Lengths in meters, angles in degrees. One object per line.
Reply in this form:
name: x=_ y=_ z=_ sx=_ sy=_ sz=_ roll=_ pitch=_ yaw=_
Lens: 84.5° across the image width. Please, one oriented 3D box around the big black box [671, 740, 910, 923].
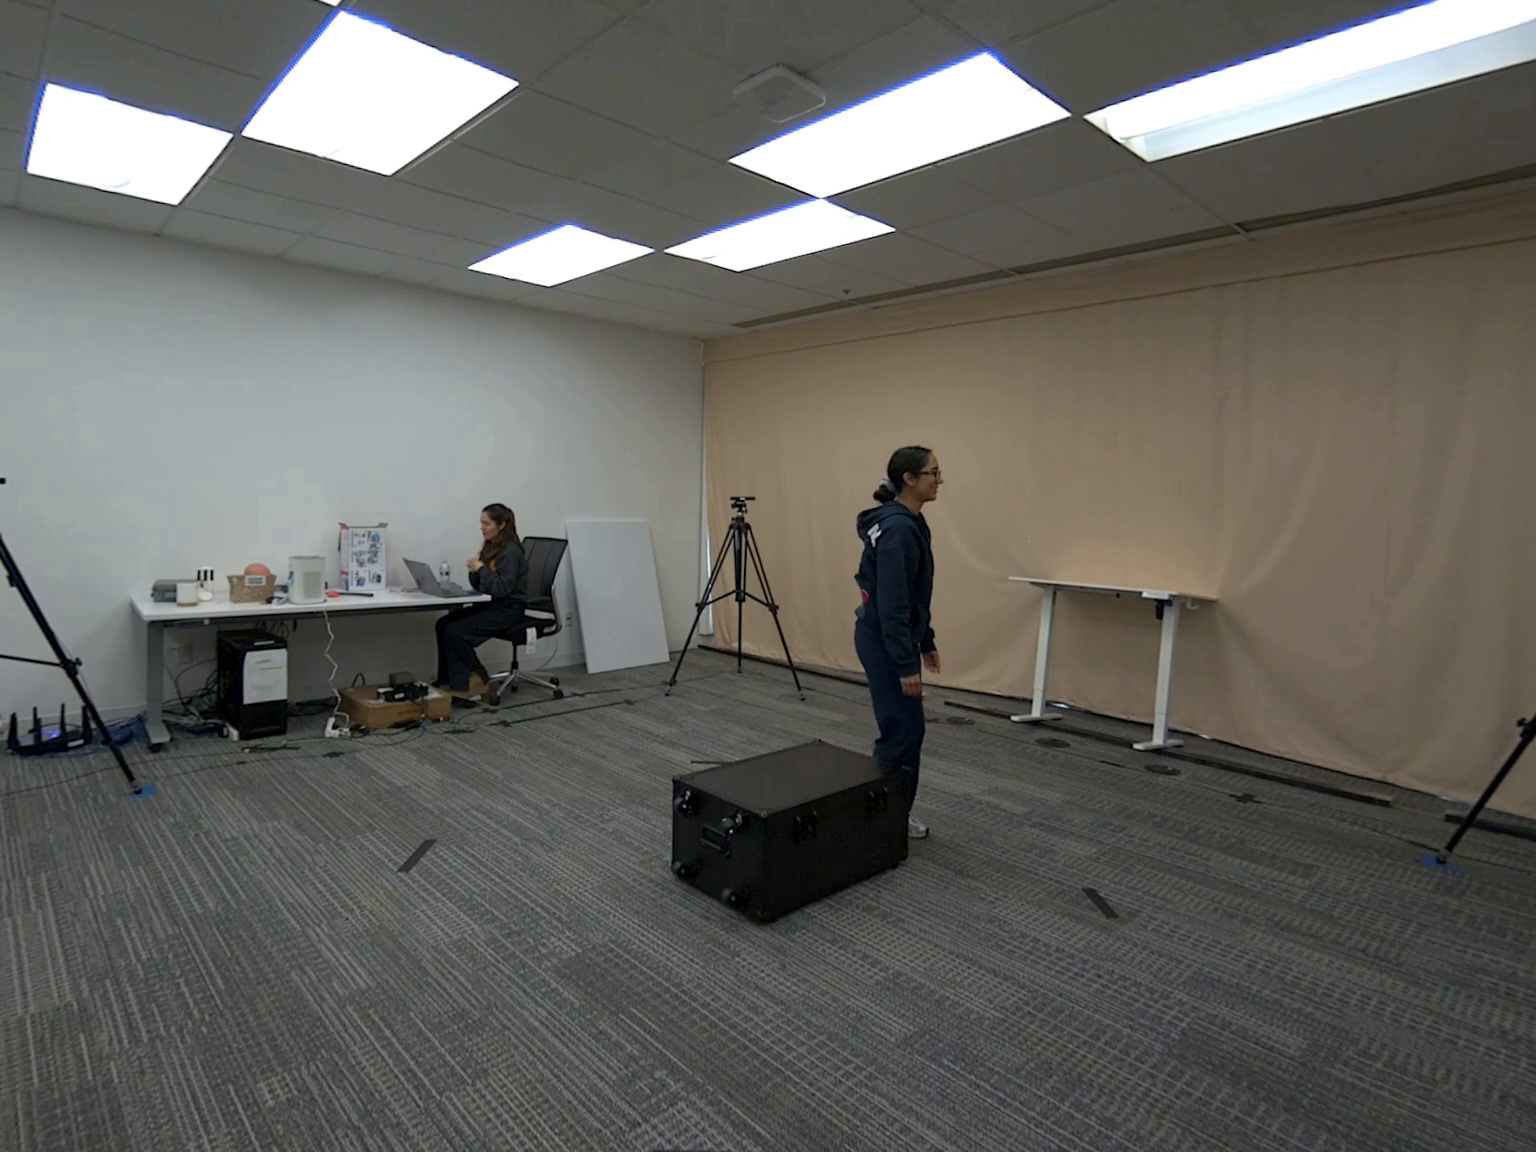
big black box: x=0.063 y=0.918 z=3.123 sx=0.841 sy=0.395 sz=0.534 roll=-2 pitch=5 yaw=-44
